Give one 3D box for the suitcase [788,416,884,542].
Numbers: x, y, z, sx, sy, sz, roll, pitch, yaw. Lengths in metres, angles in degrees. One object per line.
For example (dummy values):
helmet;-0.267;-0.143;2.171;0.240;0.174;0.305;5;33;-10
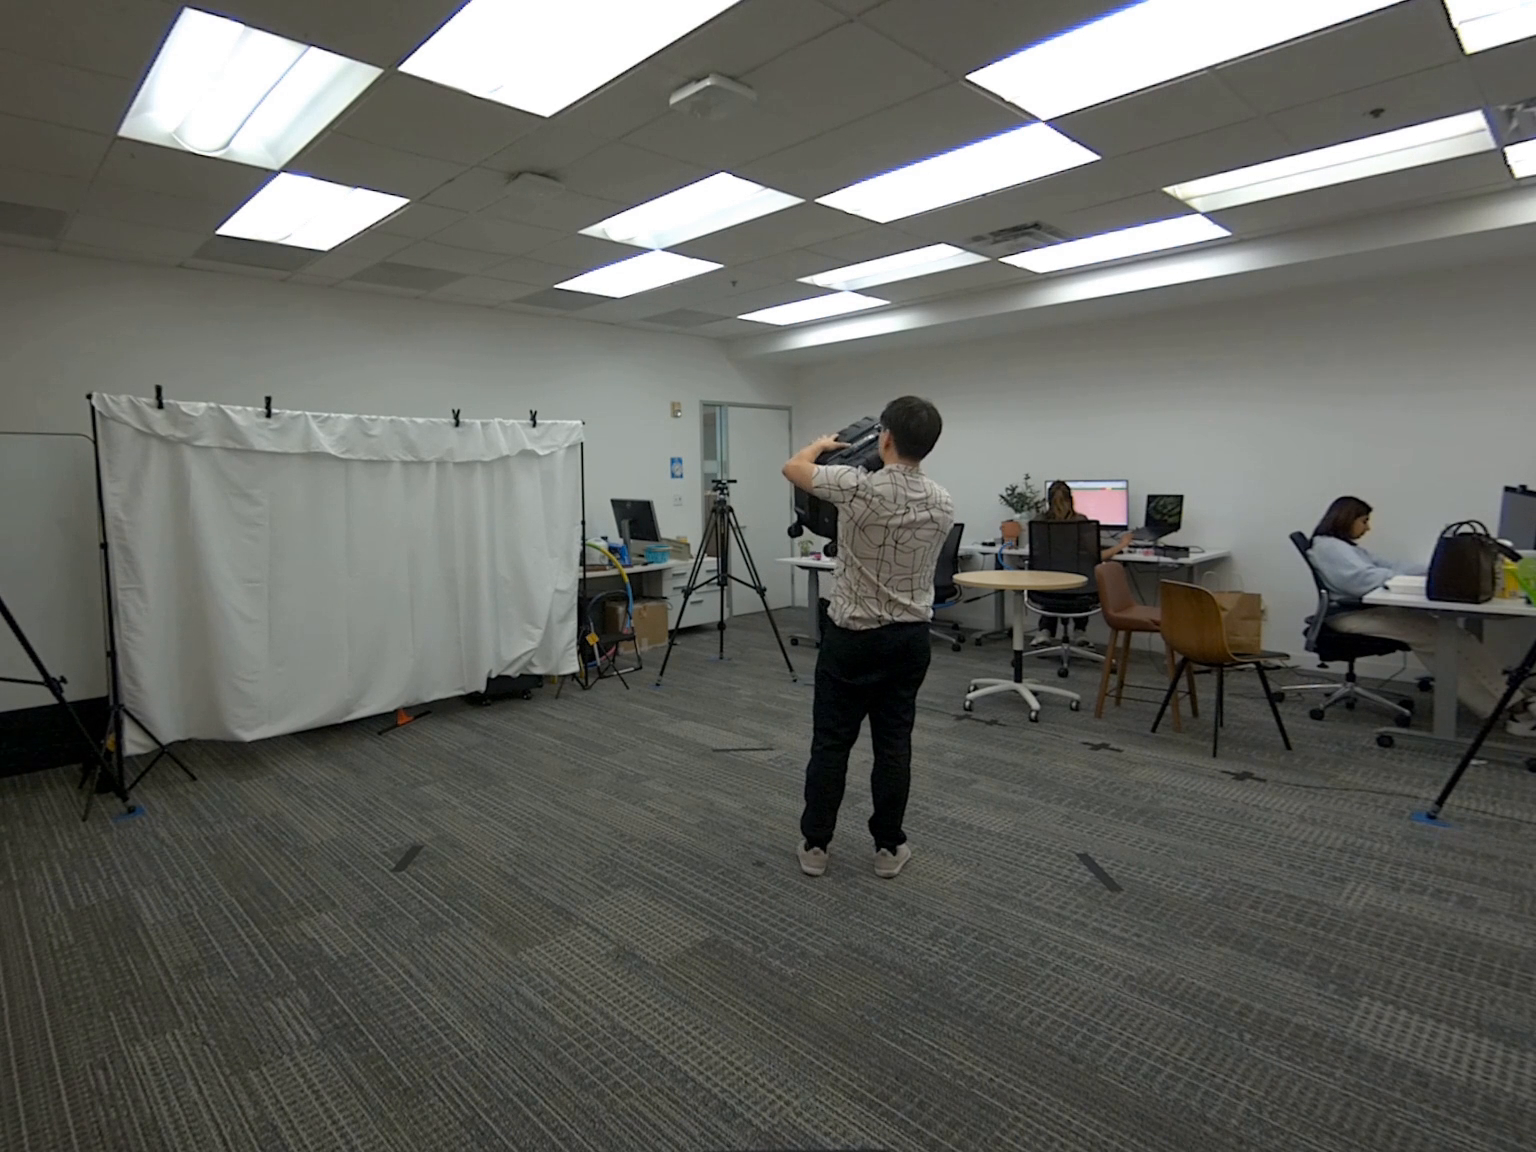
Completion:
suitcase;0.344;-0.394;3.437;0.545;0.364;0.258;-34;46;-31
